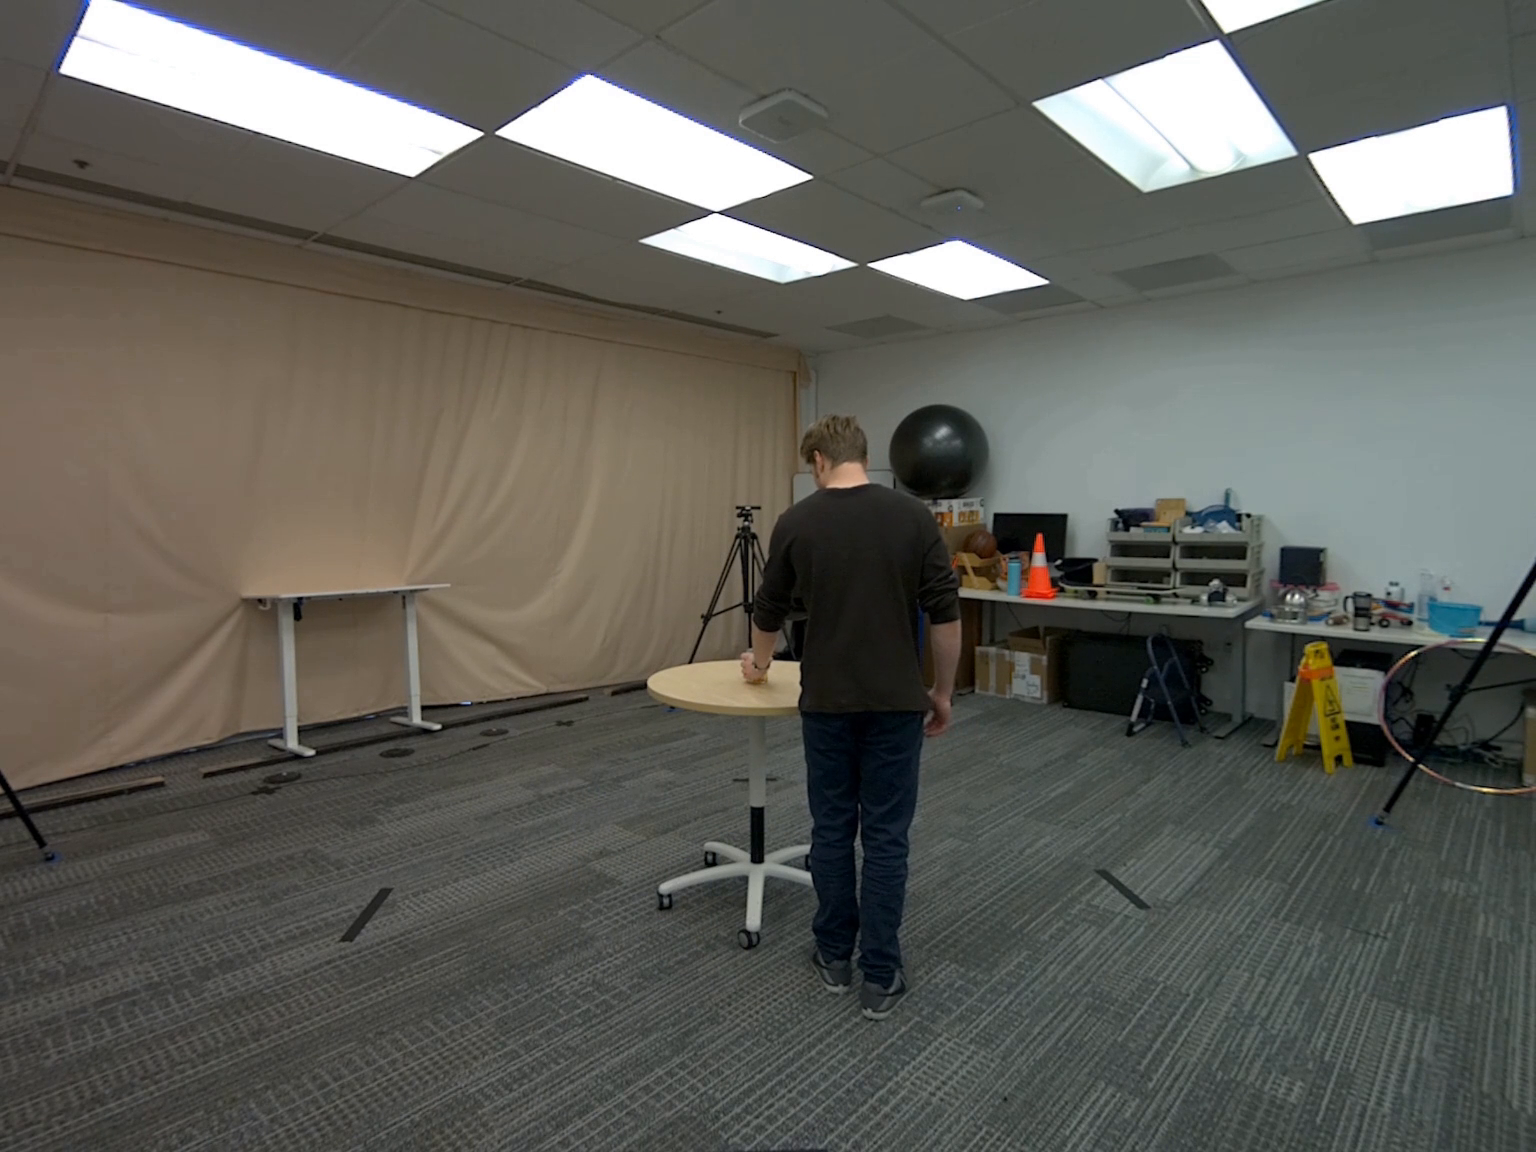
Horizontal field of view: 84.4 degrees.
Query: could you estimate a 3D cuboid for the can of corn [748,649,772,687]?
[{"bbox_3d":[-0.029,0.311,2.897,0.074,0.110,0.074,-2,6,-2],"label":"can of corn"}]
